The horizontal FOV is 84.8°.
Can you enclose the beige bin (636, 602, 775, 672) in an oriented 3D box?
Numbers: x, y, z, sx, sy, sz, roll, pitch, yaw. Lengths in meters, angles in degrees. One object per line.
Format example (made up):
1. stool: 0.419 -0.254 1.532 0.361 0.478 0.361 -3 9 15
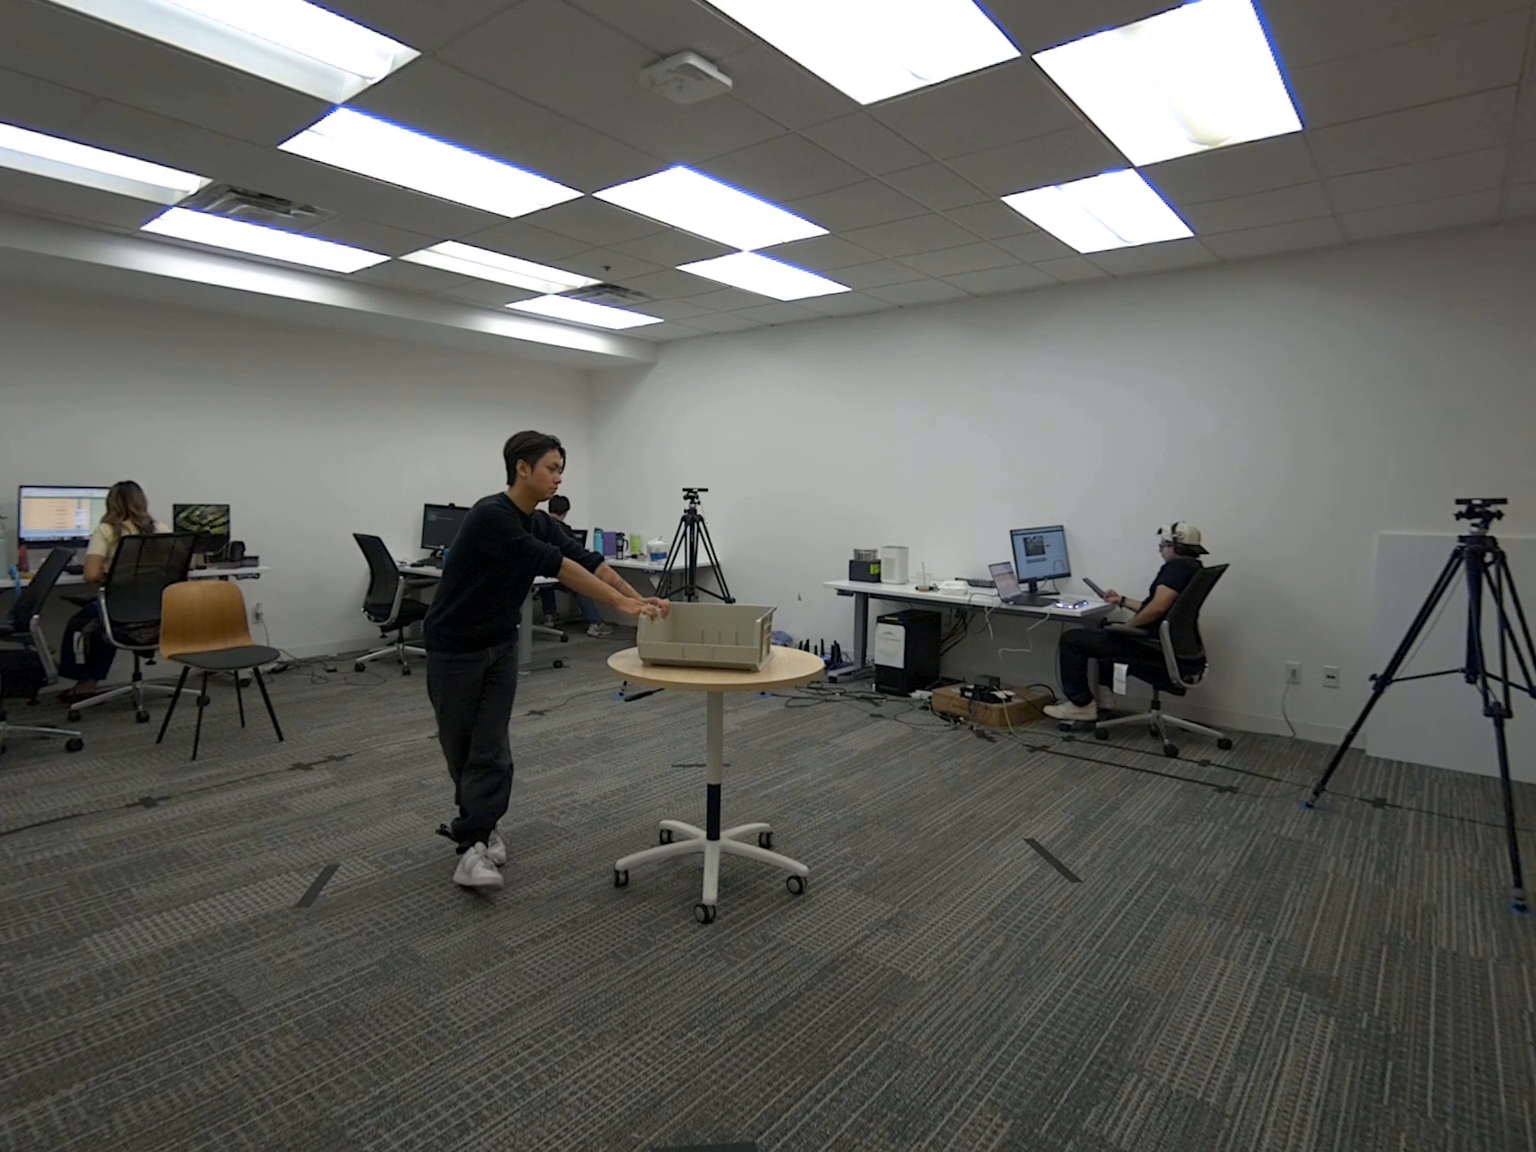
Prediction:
1. beige bin: -0.215 0.211 2.985 0.428 0.189 0.373 2 3 11
